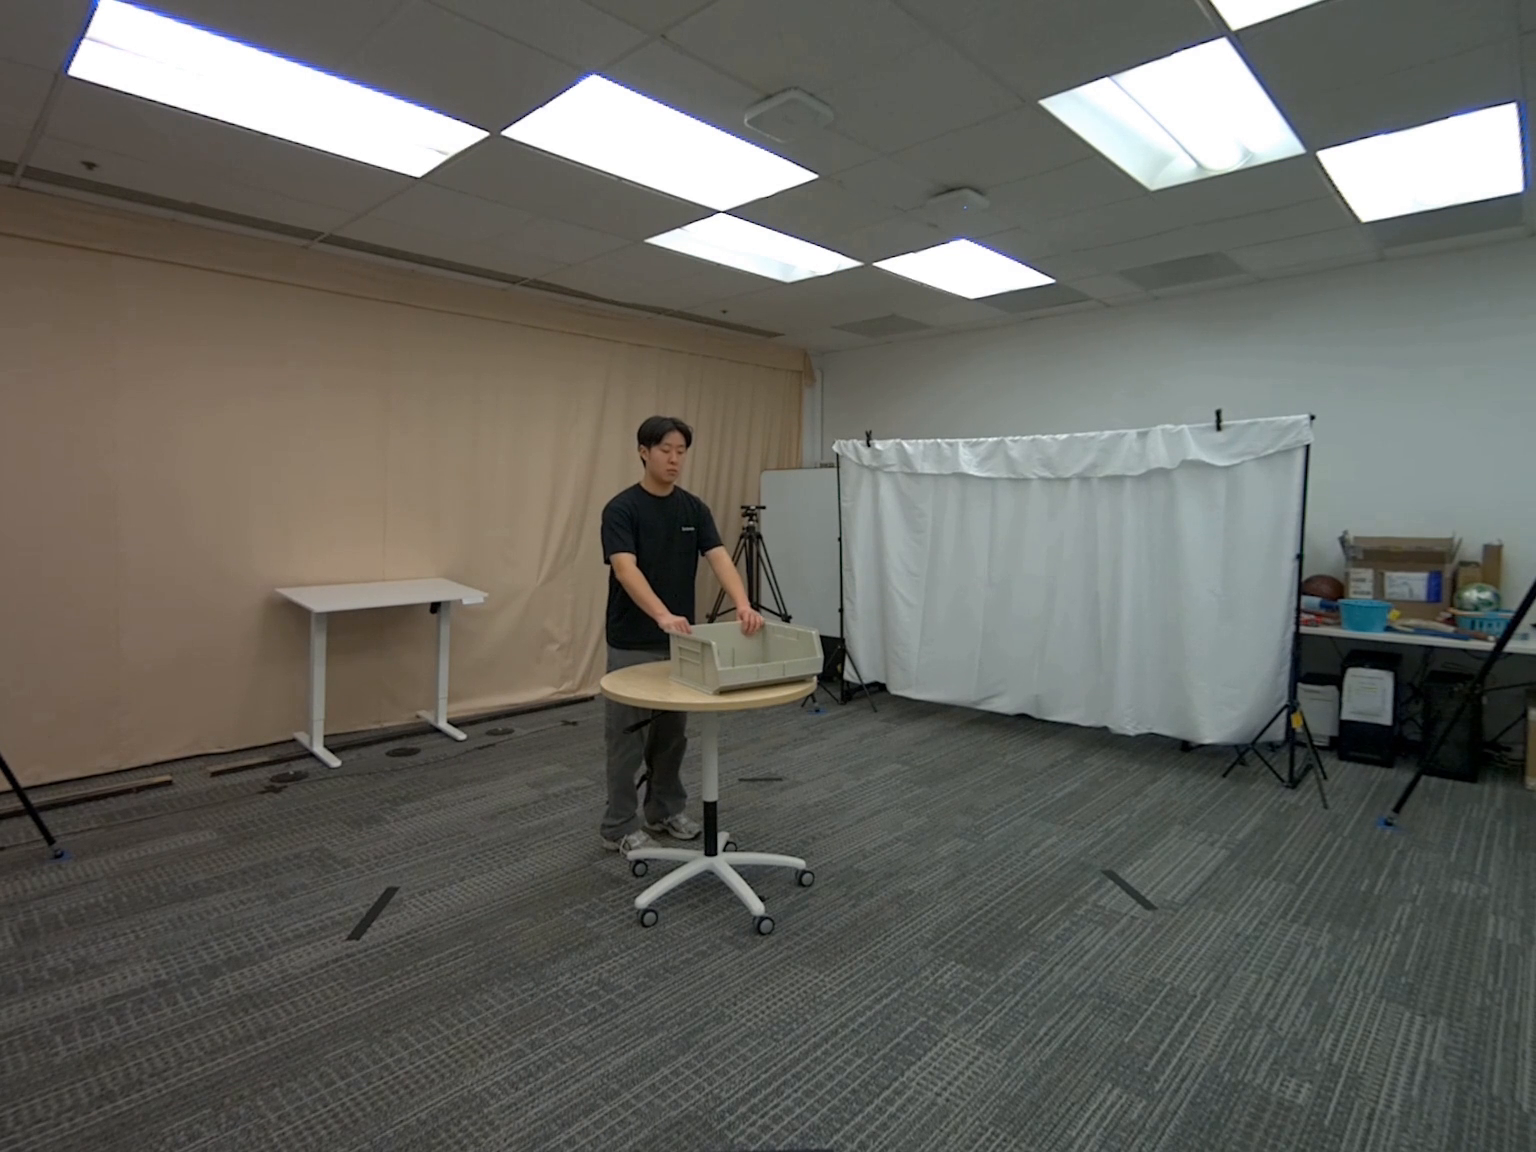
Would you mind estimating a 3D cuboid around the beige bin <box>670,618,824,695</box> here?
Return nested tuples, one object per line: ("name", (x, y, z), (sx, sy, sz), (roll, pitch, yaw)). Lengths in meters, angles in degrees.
("beige bin", (-0.082, 0.277, 2.929), (0.411, 0.188, 0.388), (-4, 4, -31))
